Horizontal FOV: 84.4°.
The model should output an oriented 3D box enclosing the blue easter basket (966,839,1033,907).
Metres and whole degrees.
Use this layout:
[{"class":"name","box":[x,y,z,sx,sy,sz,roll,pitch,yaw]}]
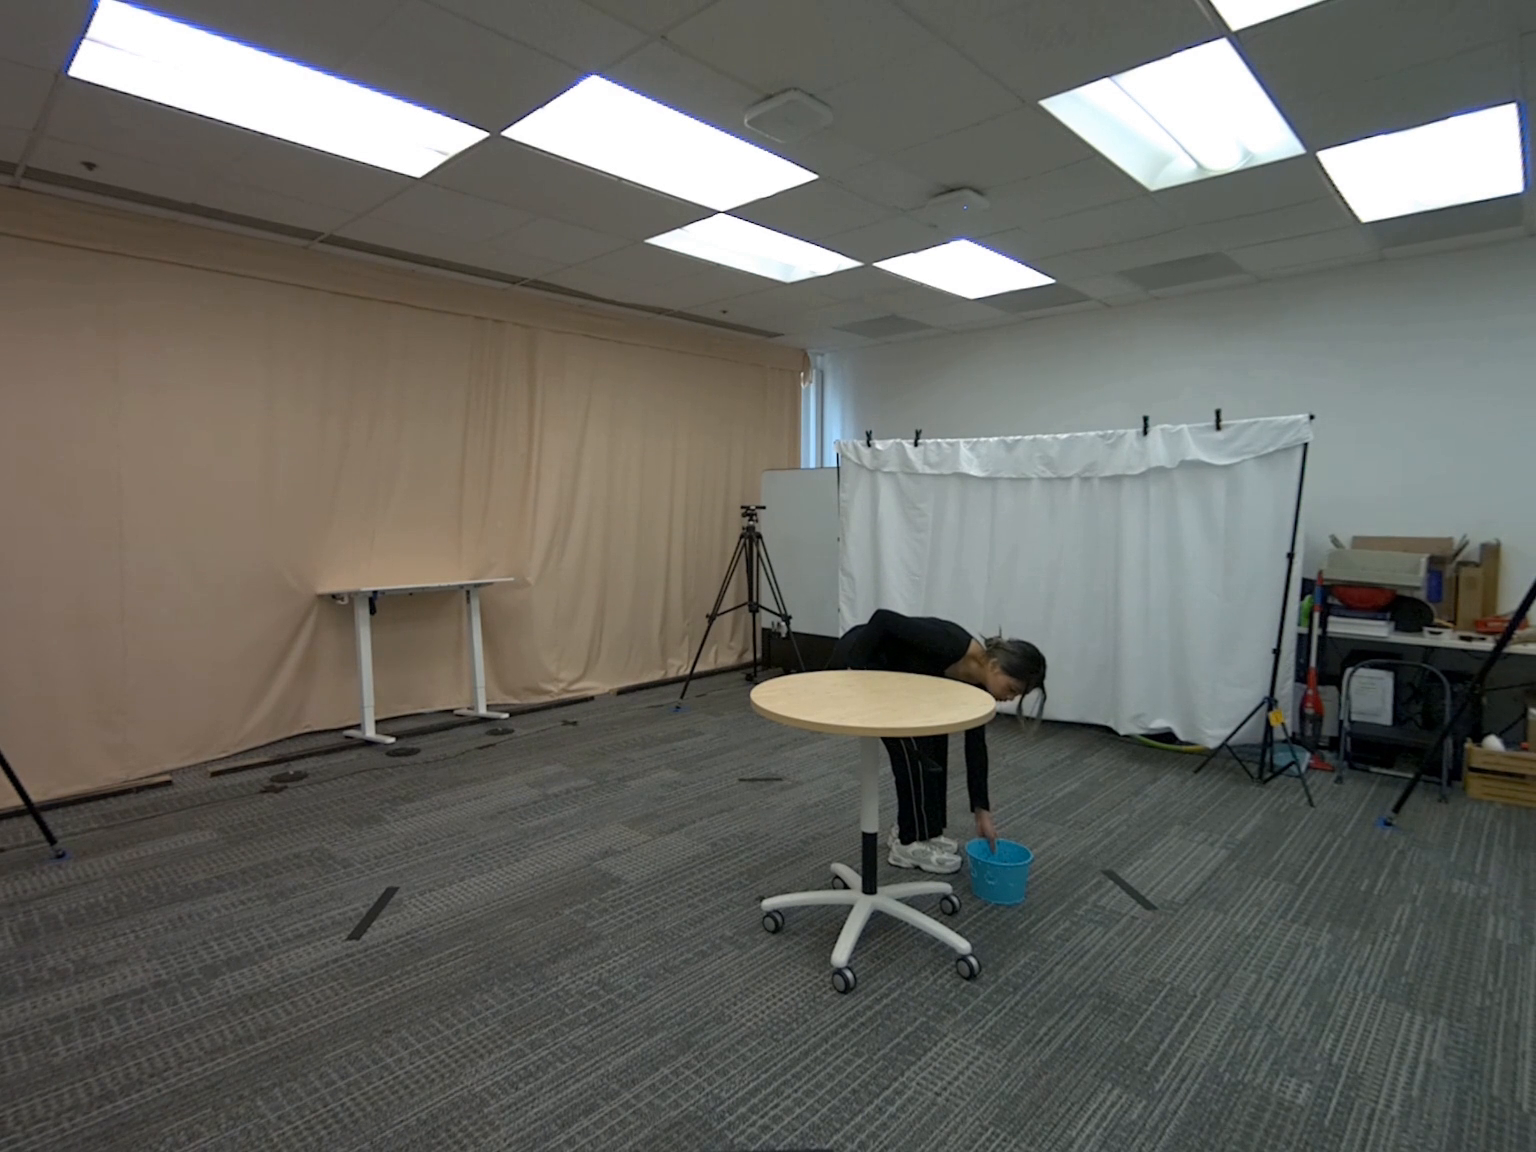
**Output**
[{"class":"blue easter basket","box":[0.831,1.051,3.029,0.243,0.155,0.244,1,4,-2]}]
